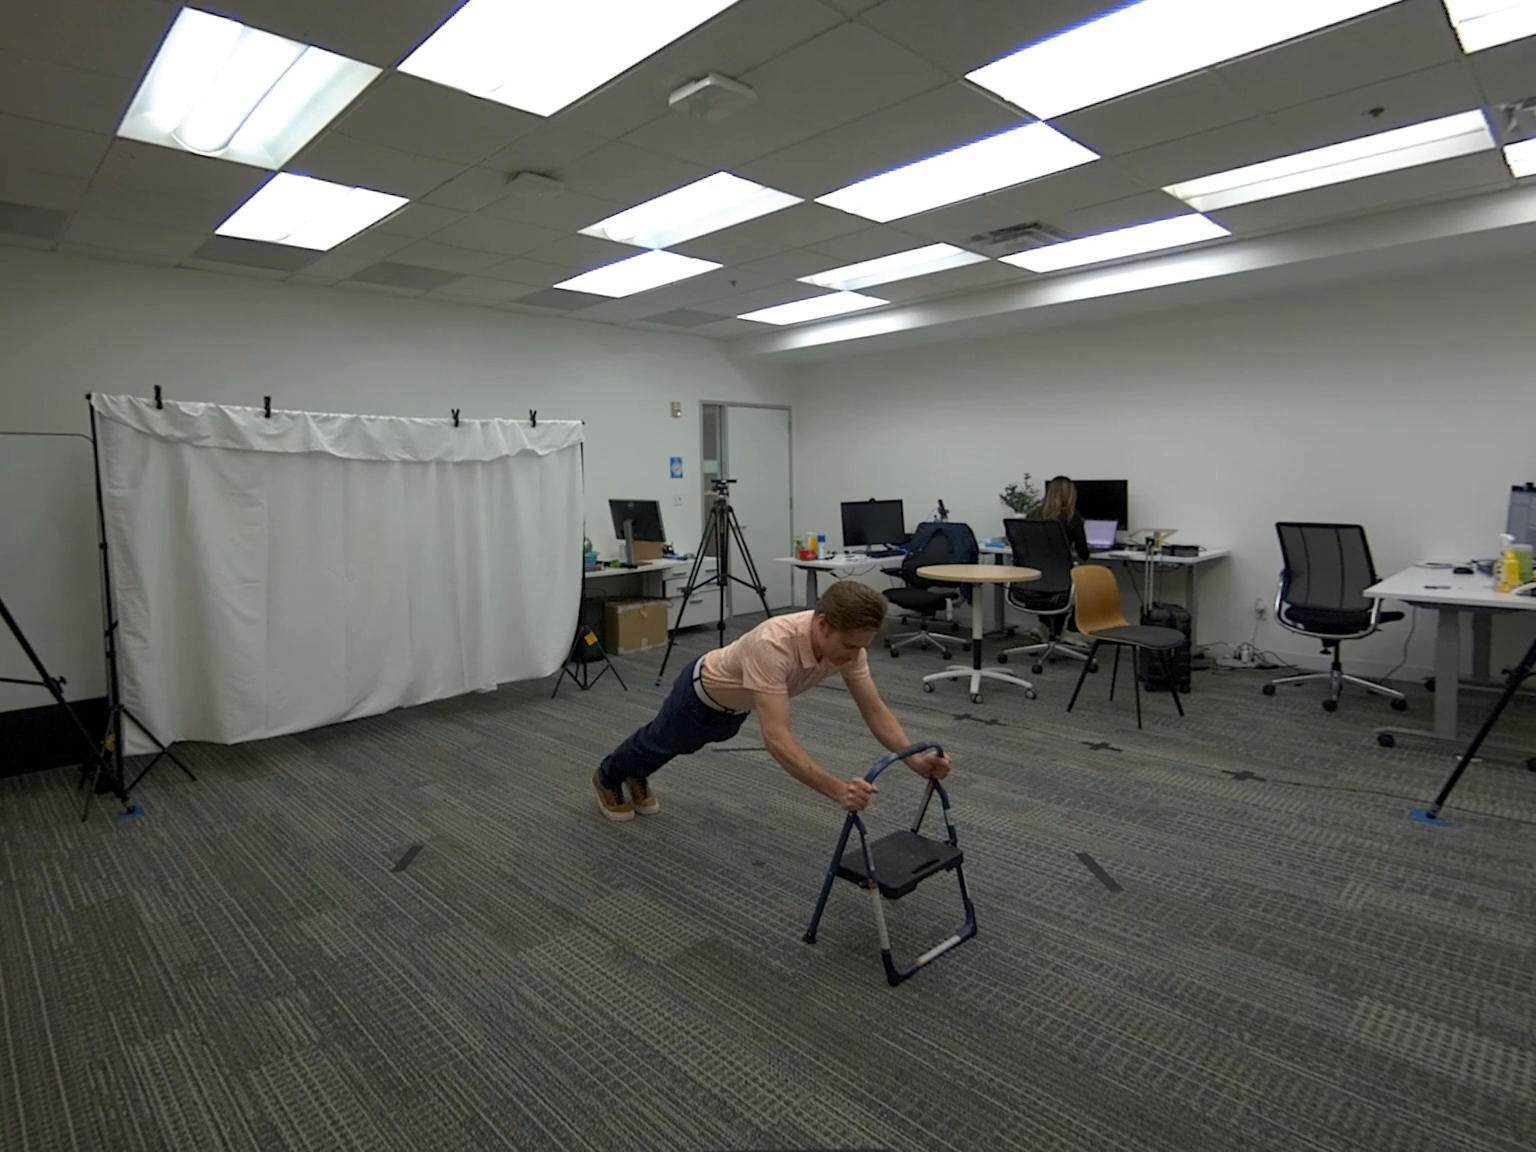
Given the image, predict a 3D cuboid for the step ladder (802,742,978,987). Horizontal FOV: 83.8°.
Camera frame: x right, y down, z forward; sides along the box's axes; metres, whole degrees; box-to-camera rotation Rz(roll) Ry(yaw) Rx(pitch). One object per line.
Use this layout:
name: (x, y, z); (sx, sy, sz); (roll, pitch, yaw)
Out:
step ladder: (0.374, 0.799, 2.582); (0.419, 0.604, 0.360); (-5, 6, -43)
